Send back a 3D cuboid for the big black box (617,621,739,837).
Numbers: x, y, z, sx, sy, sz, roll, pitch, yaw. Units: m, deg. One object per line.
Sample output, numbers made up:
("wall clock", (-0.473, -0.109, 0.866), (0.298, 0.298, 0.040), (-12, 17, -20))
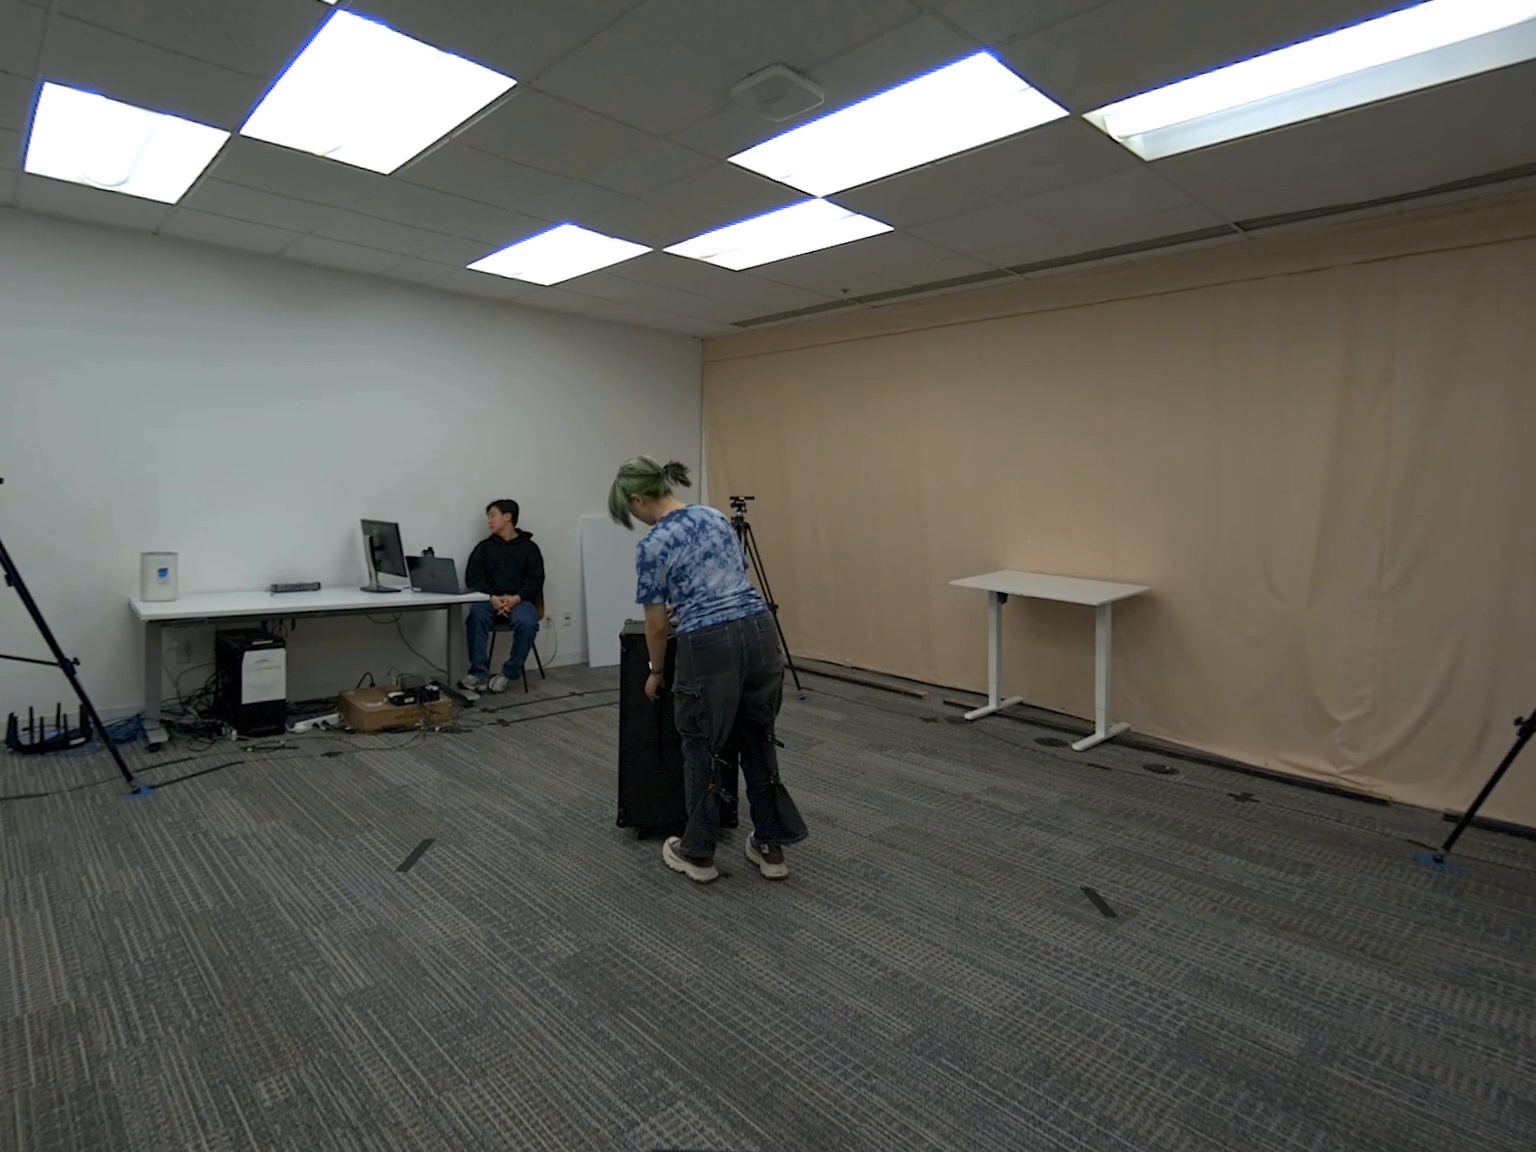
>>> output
("big black box", (-0.375, 0.642, 3.513), (0.520, 0.859, 0.398), (2, 4, -3))
